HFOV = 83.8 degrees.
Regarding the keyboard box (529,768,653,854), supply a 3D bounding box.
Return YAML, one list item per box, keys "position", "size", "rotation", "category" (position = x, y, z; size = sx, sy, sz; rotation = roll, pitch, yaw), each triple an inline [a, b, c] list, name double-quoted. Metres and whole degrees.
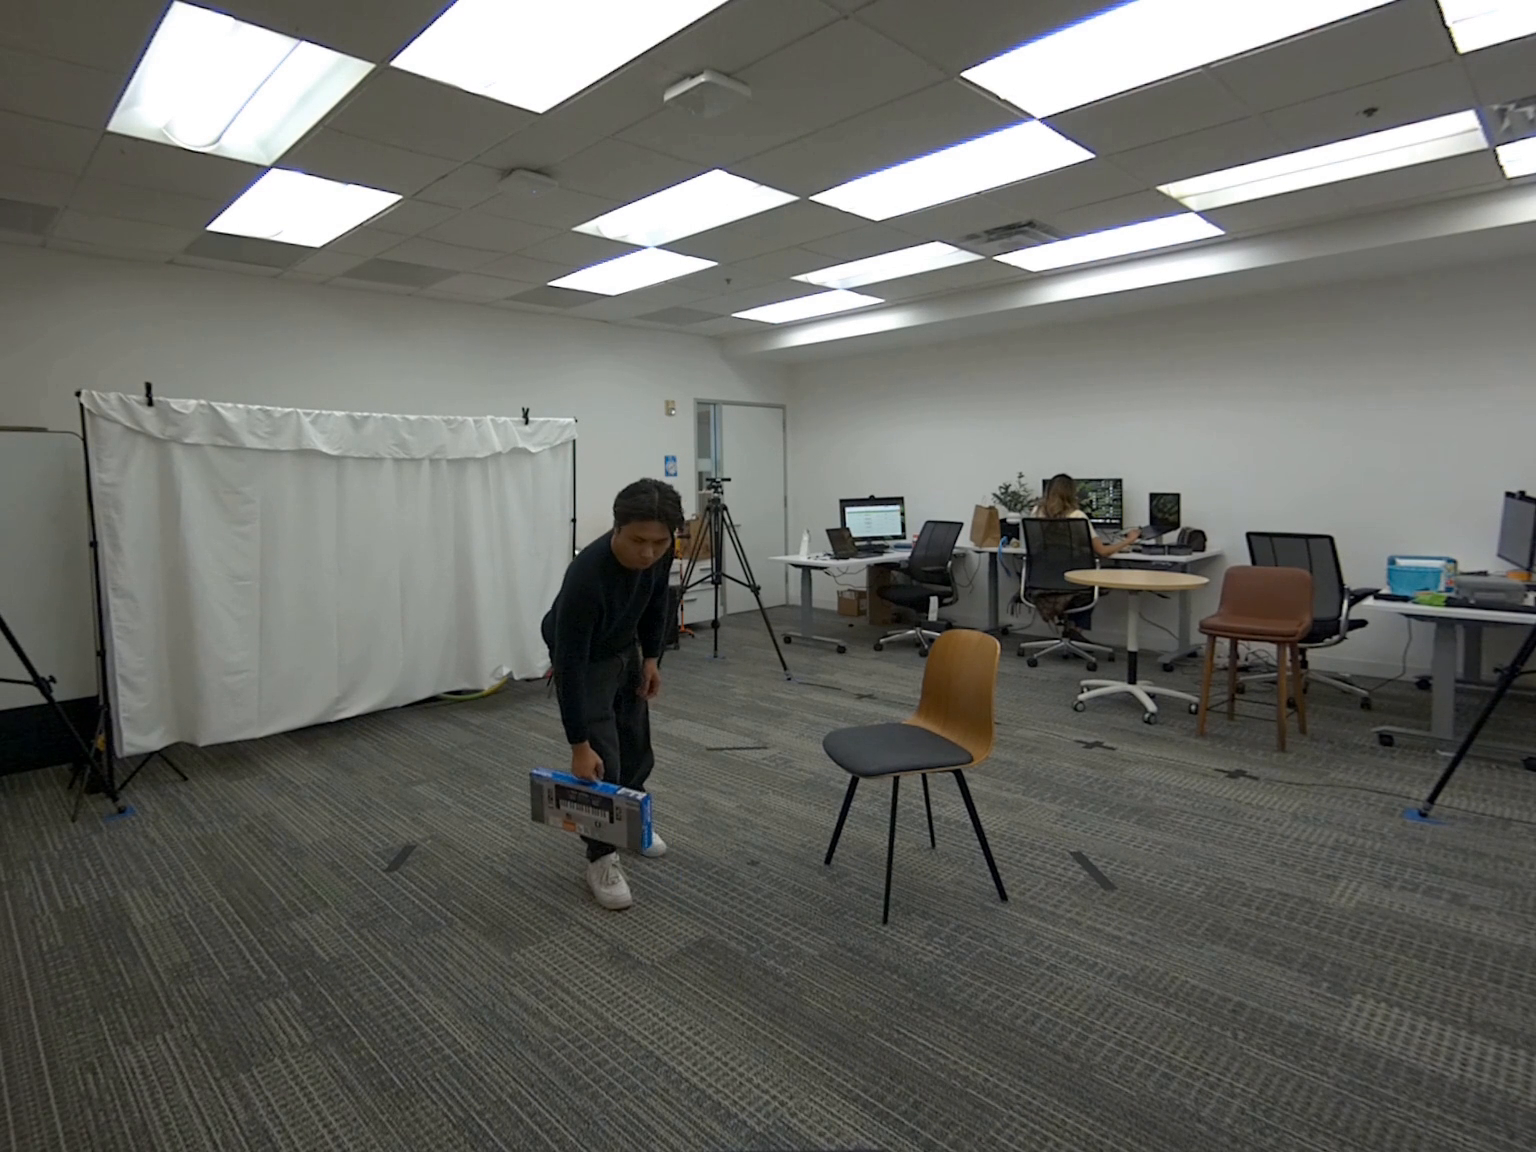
- position: [-0.565, 0.739, 2.721]
  size: [0.448, 0.174, 0.058]
  rotation: [6, 10, 27]
  category: "keyboard box"
